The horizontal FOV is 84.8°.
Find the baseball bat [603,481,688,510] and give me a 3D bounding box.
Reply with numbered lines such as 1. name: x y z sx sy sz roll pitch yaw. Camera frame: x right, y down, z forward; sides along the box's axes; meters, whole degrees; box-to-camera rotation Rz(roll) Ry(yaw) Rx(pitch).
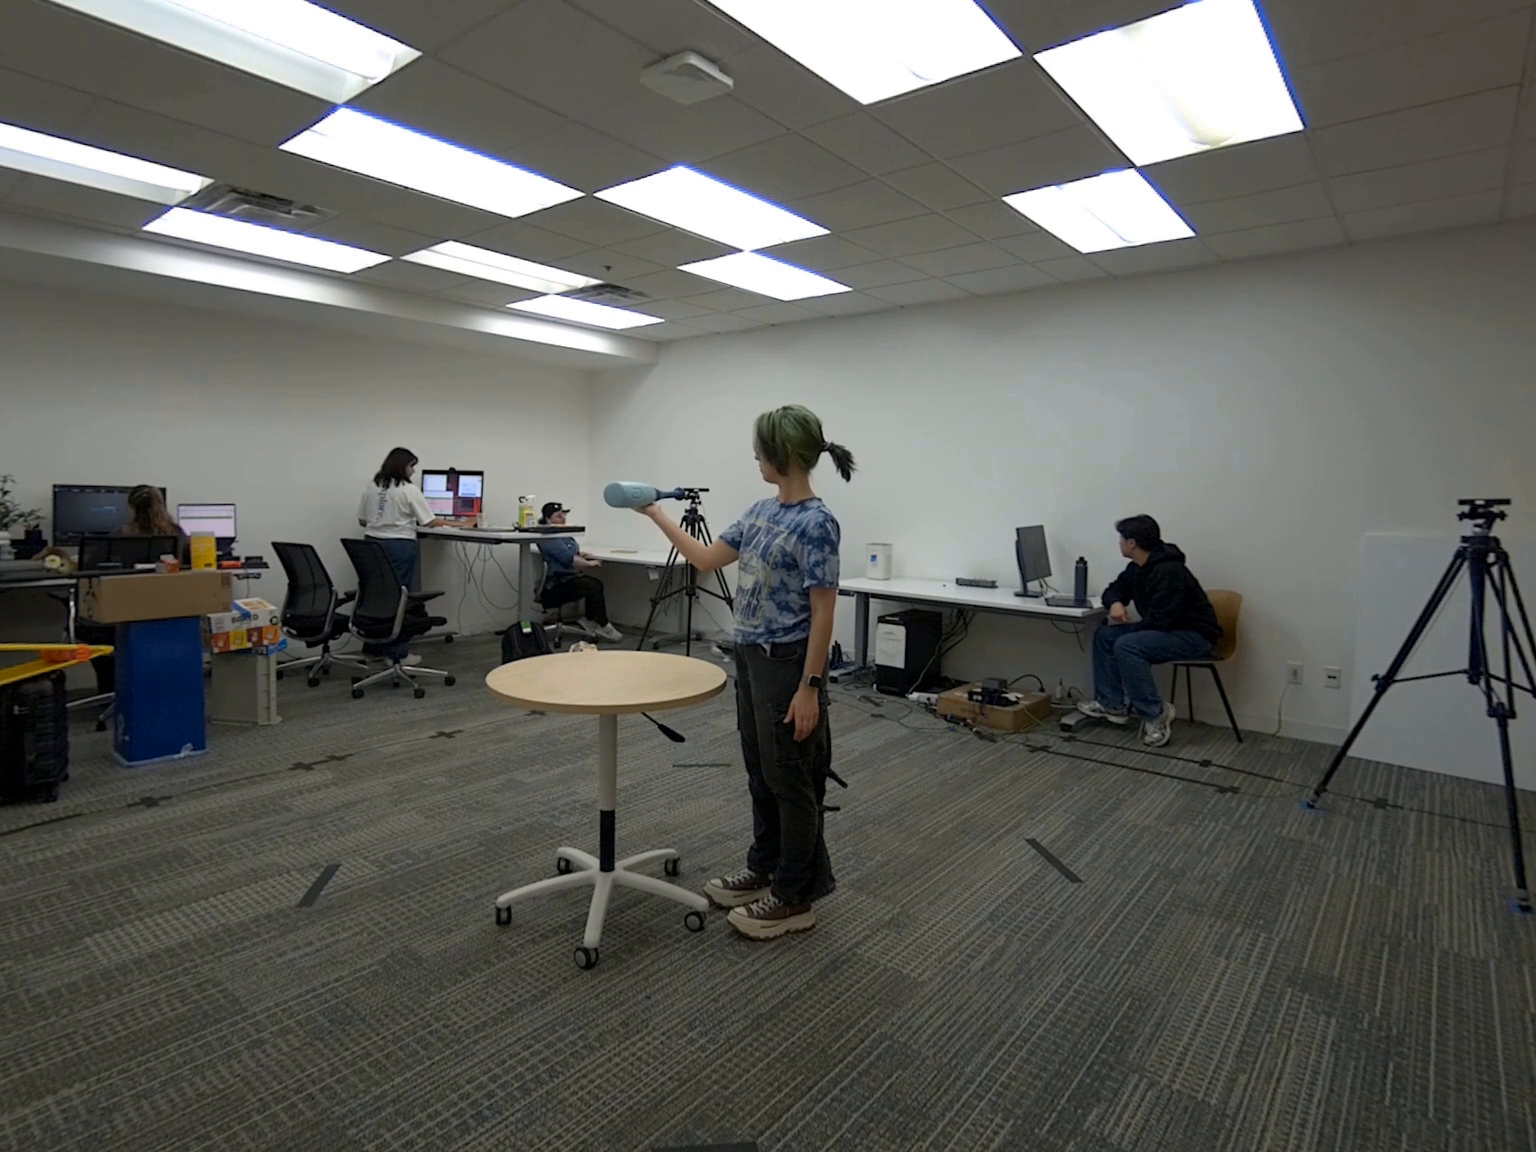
1. baseball bat: -0.426 -0.285 2.989 0.091 0.088 0.535 2 6 15
